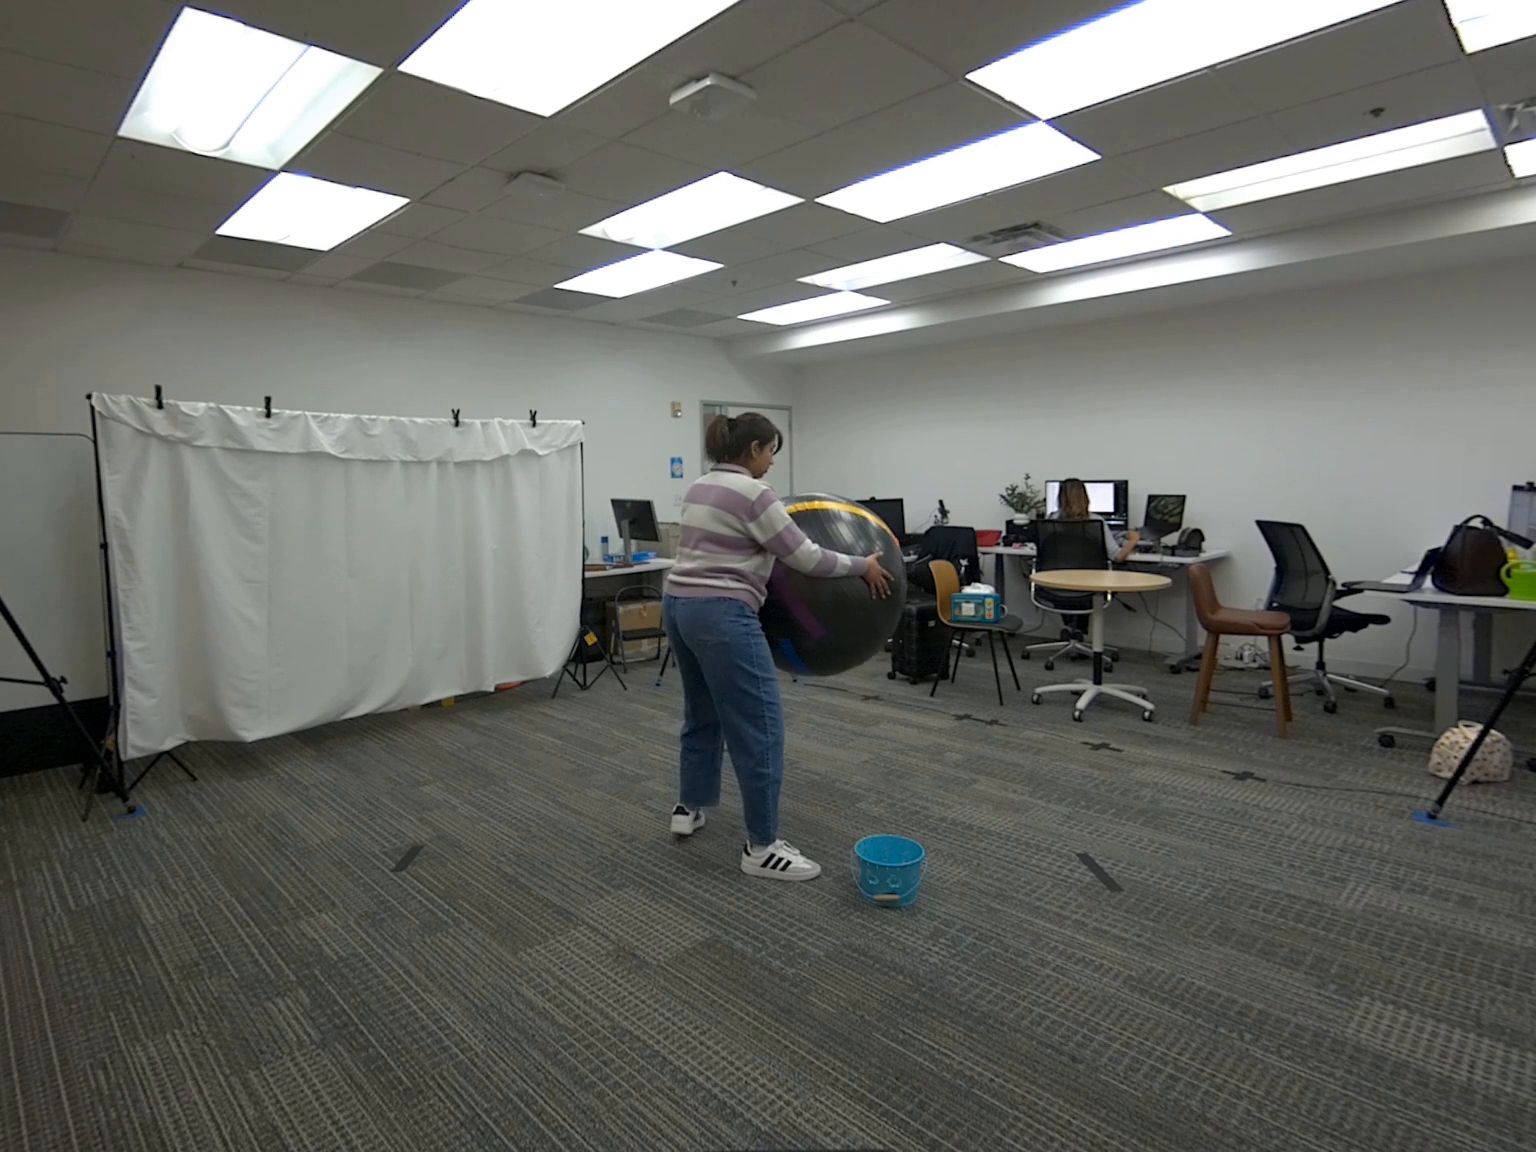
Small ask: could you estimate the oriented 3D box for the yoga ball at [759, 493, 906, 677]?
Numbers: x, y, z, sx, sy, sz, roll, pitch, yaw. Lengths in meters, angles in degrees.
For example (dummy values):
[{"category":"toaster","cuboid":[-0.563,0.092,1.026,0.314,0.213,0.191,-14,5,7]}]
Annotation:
[{"category":"yoga ball","cuboid":[0.193,0.039,3.549,0.757,0.755,0.762,-1,5,-2]}]
